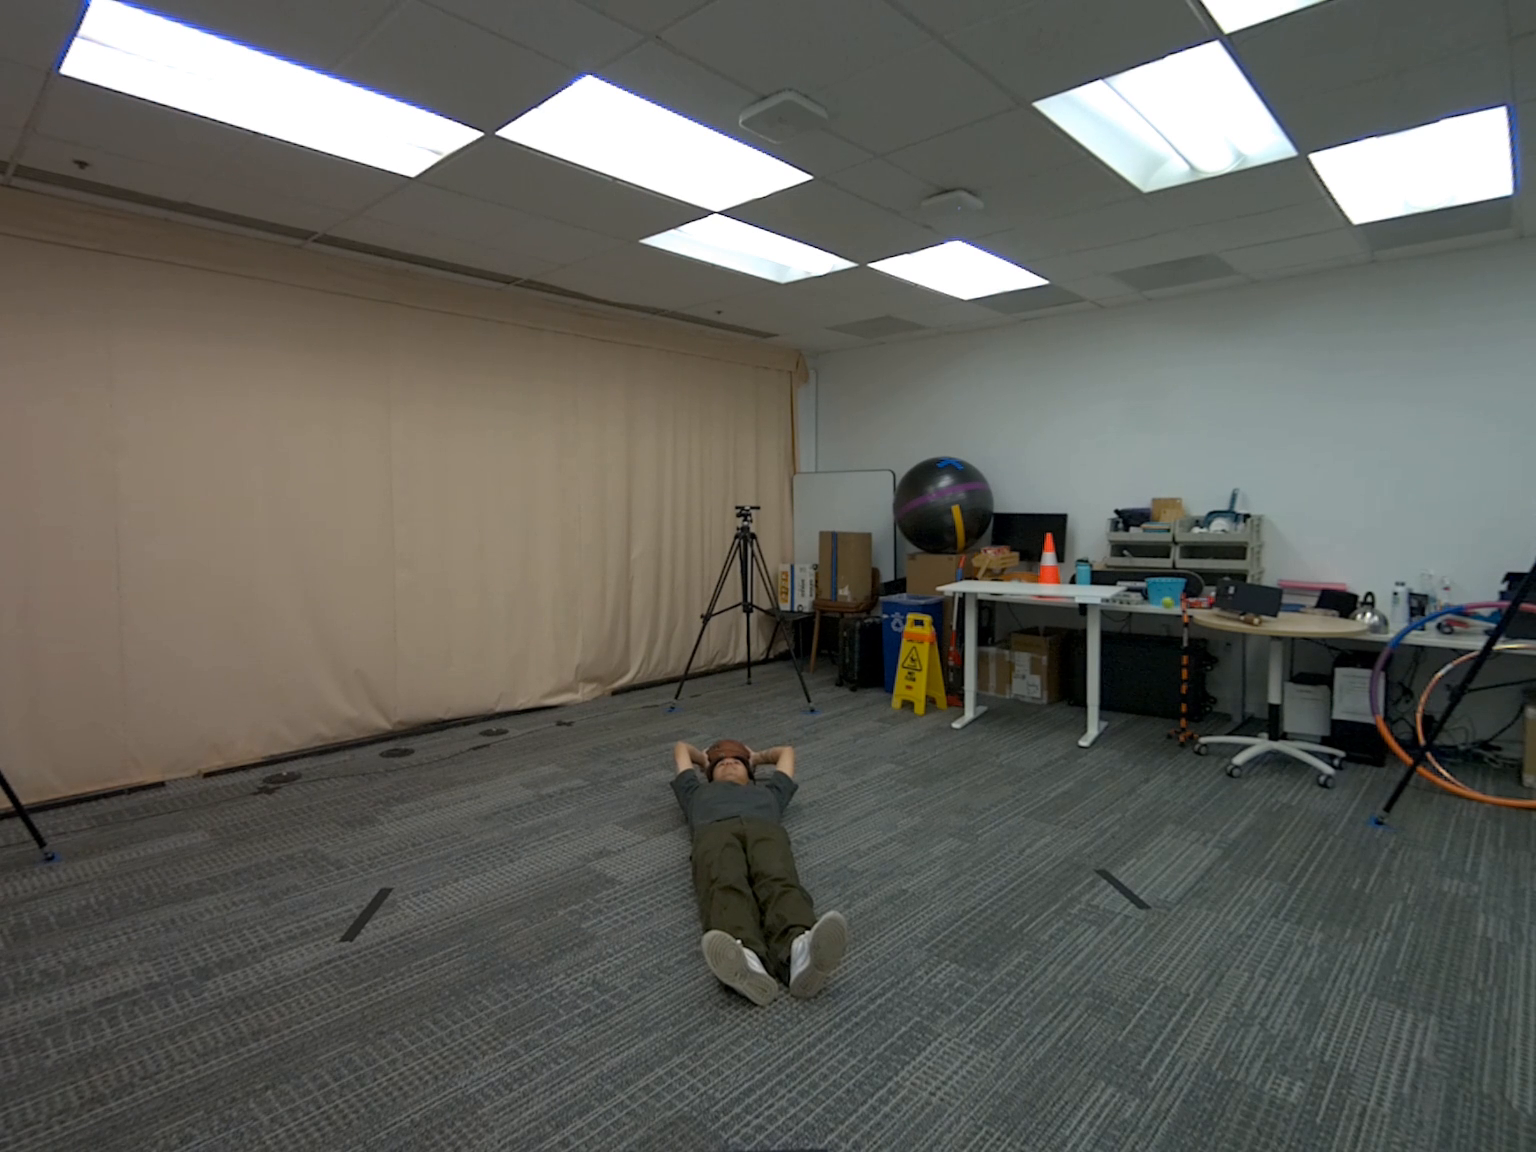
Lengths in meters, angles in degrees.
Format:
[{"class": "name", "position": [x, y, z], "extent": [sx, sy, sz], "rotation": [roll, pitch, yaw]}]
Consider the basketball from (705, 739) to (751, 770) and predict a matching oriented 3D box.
[{"class": "basketball", "position": [-0.201, 0.924, 4.185], "extent": [0.236, 0.235, 0.237], "rotation": [0, 4, -2]}]
